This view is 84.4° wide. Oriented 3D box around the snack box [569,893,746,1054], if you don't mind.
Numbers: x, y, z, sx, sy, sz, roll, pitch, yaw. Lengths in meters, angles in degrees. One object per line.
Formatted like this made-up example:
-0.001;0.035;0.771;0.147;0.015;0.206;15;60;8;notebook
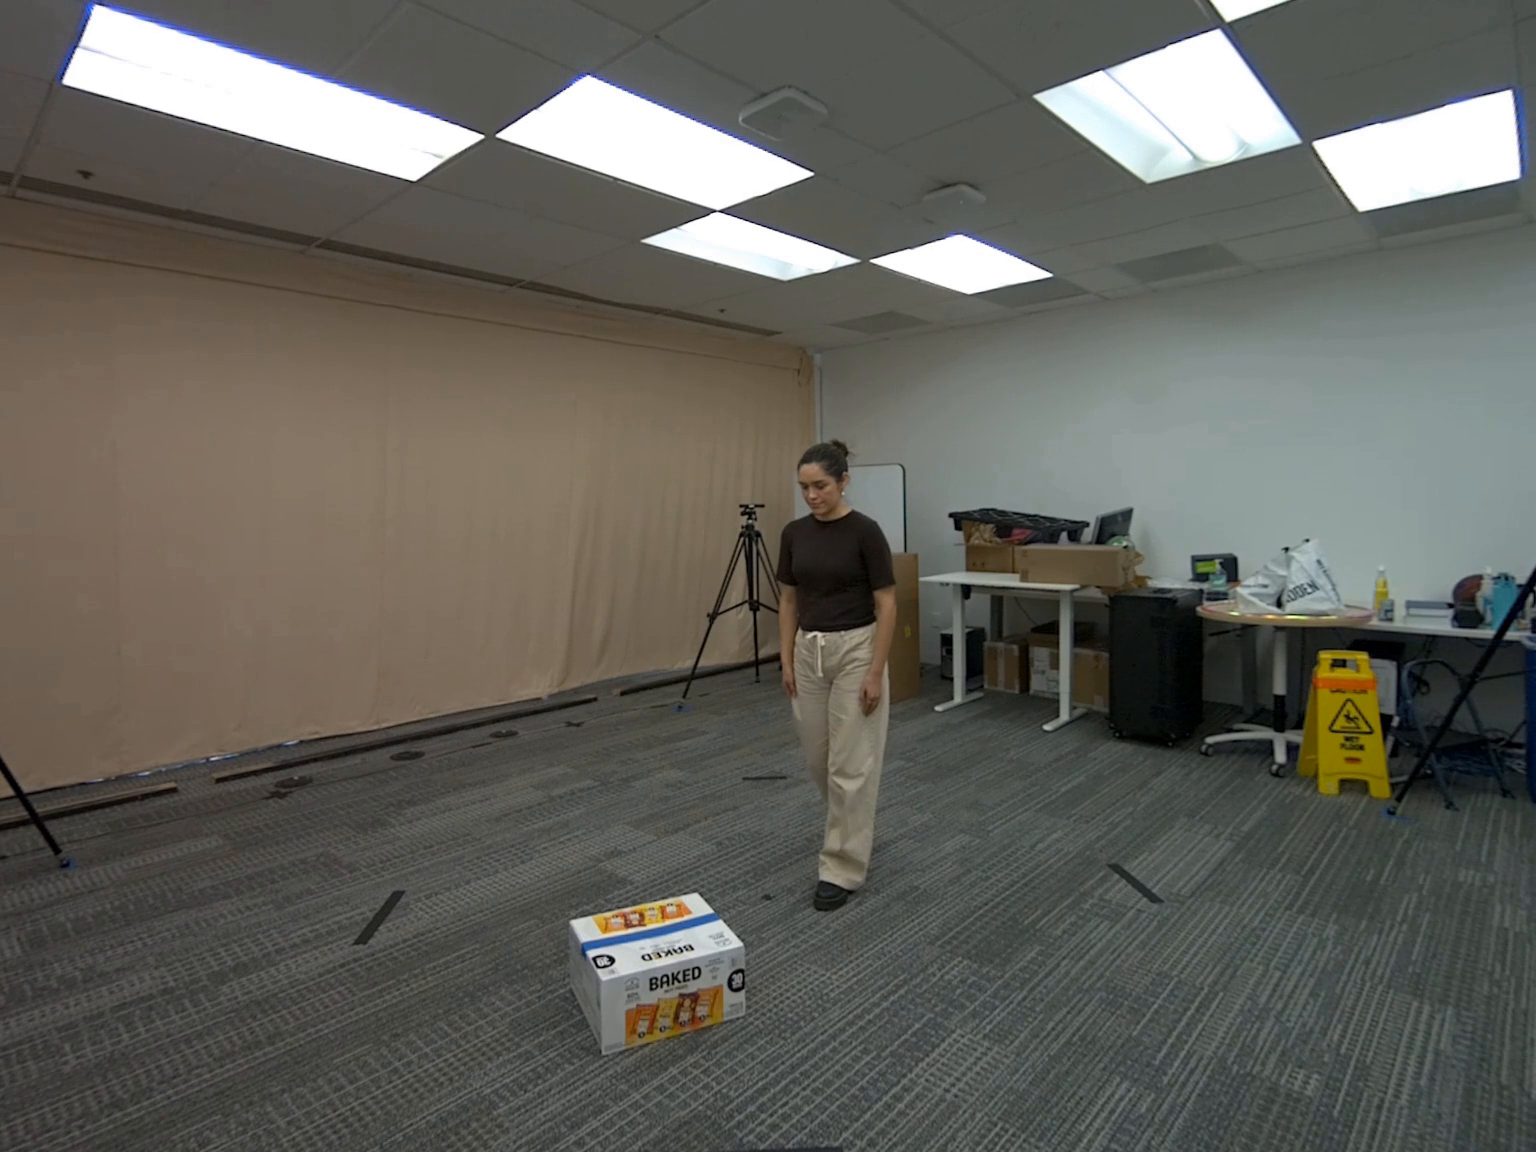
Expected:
-0.314;1.100;2.353;0.396;0.205;0.349;-3;5;-25;snack box
